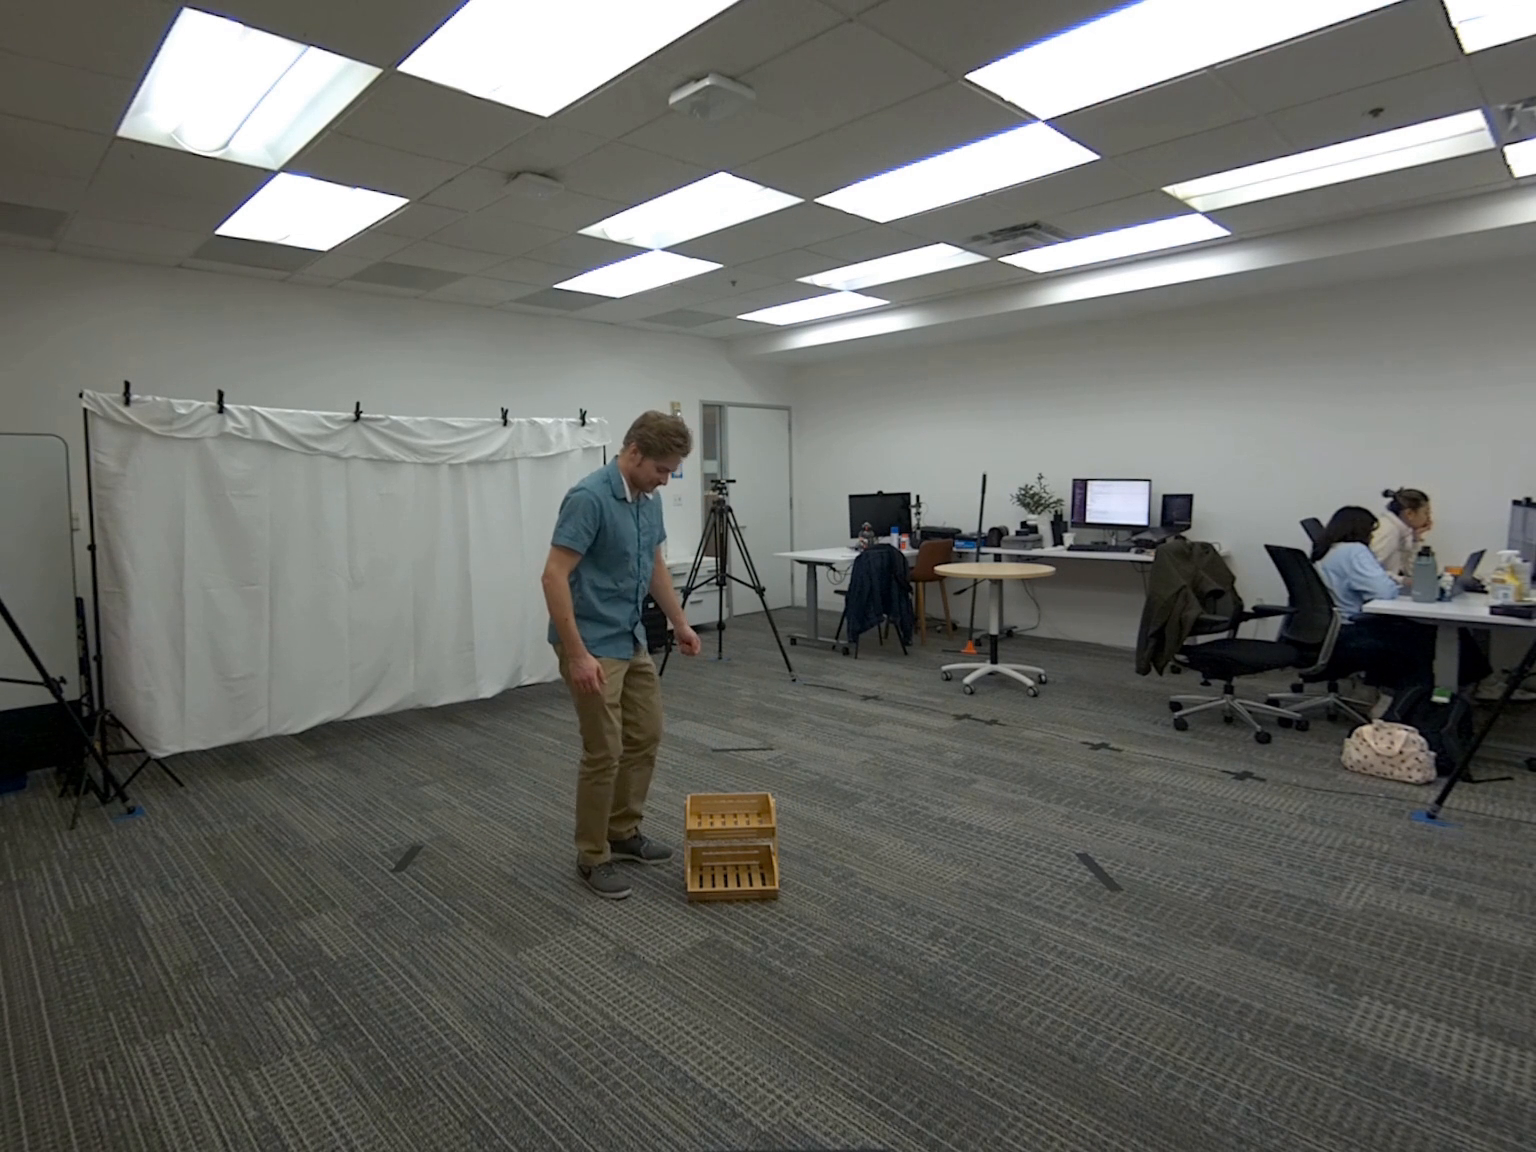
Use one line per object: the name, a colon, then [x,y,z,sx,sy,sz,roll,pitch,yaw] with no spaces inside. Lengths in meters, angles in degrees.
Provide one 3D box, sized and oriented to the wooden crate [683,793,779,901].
wooden crate: [-0.125,0.935,2.948,0.324,0.272,0.304,0,5,-3]
